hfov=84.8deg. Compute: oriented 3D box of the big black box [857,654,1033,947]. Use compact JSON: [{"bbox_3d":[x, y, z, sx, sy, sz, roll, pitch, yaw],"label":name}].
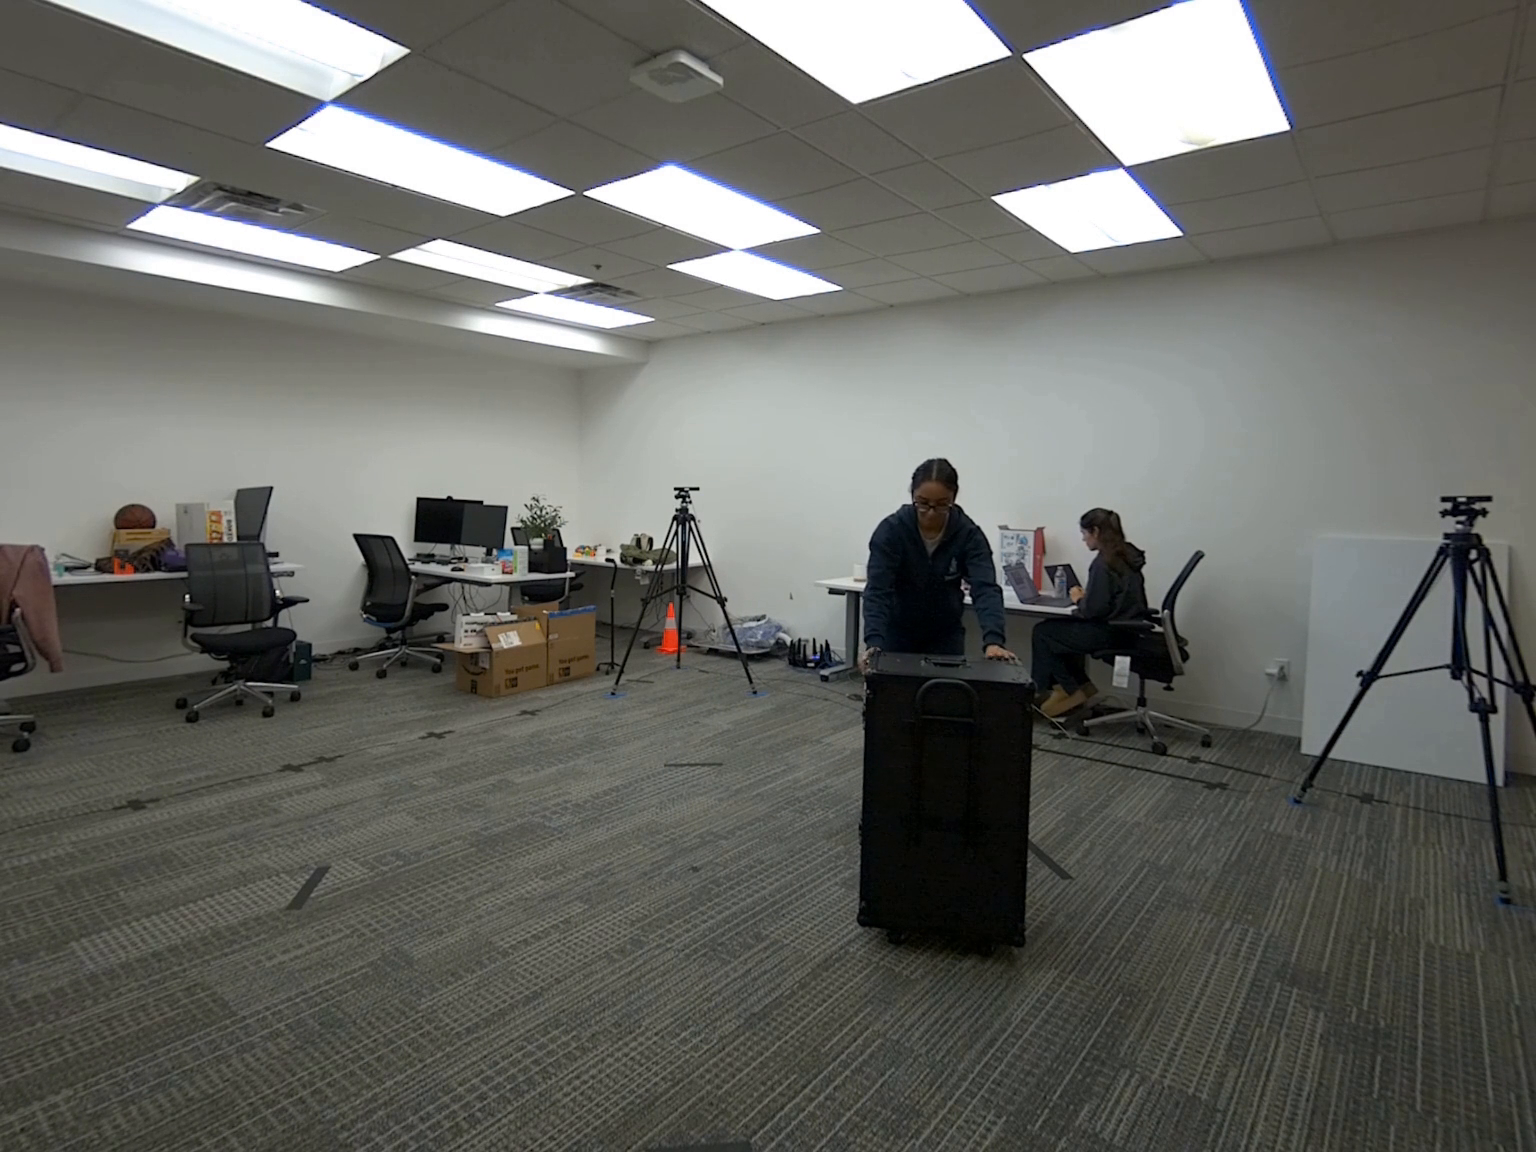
[{"bbox_3d":[0.543,0.698,2.677,0.528,0.859,0.392,1,3,12],"label":"big black box"}]
